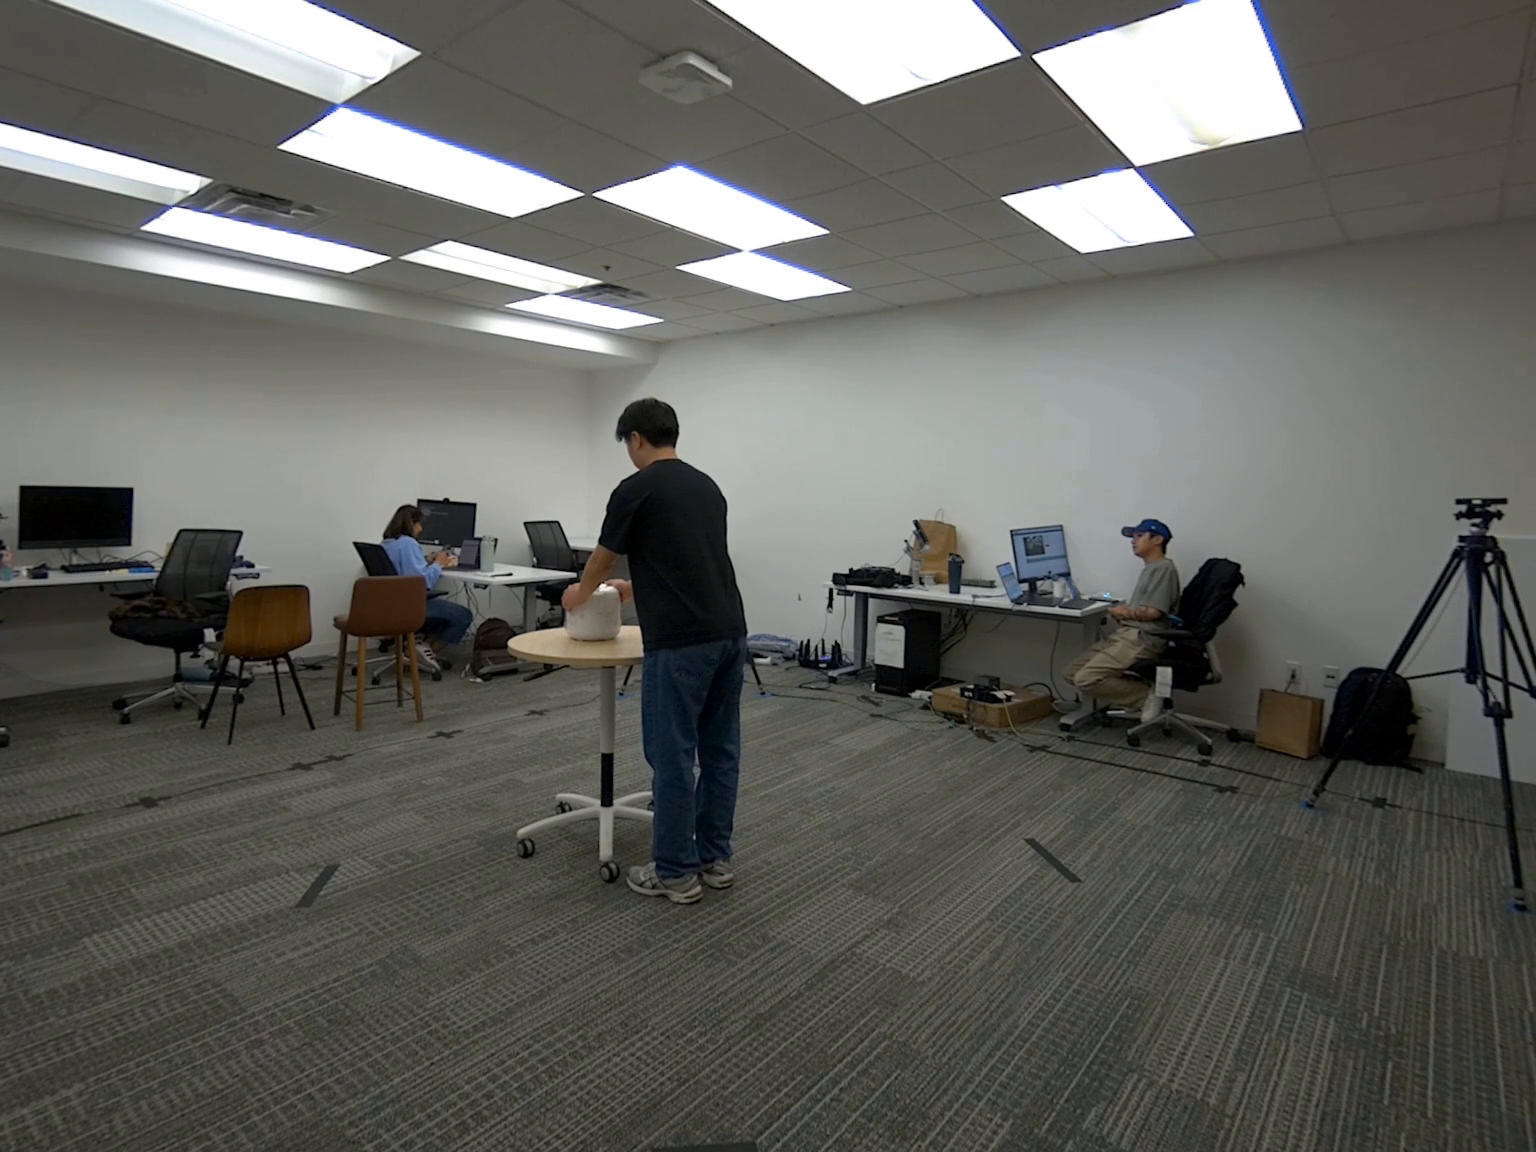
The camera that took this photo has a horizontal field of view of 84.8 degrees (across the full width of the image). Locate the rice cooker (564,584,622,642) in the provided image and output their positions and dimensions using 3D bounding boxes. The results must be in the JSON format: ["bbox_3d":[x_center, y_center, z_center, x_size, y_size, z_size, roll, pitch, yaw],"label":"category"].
[{"bbox_3d":[-0.702,0.127,3.370,0.213,0.232,0.226,-1,5,-20],"label":"rice cooker"}]
